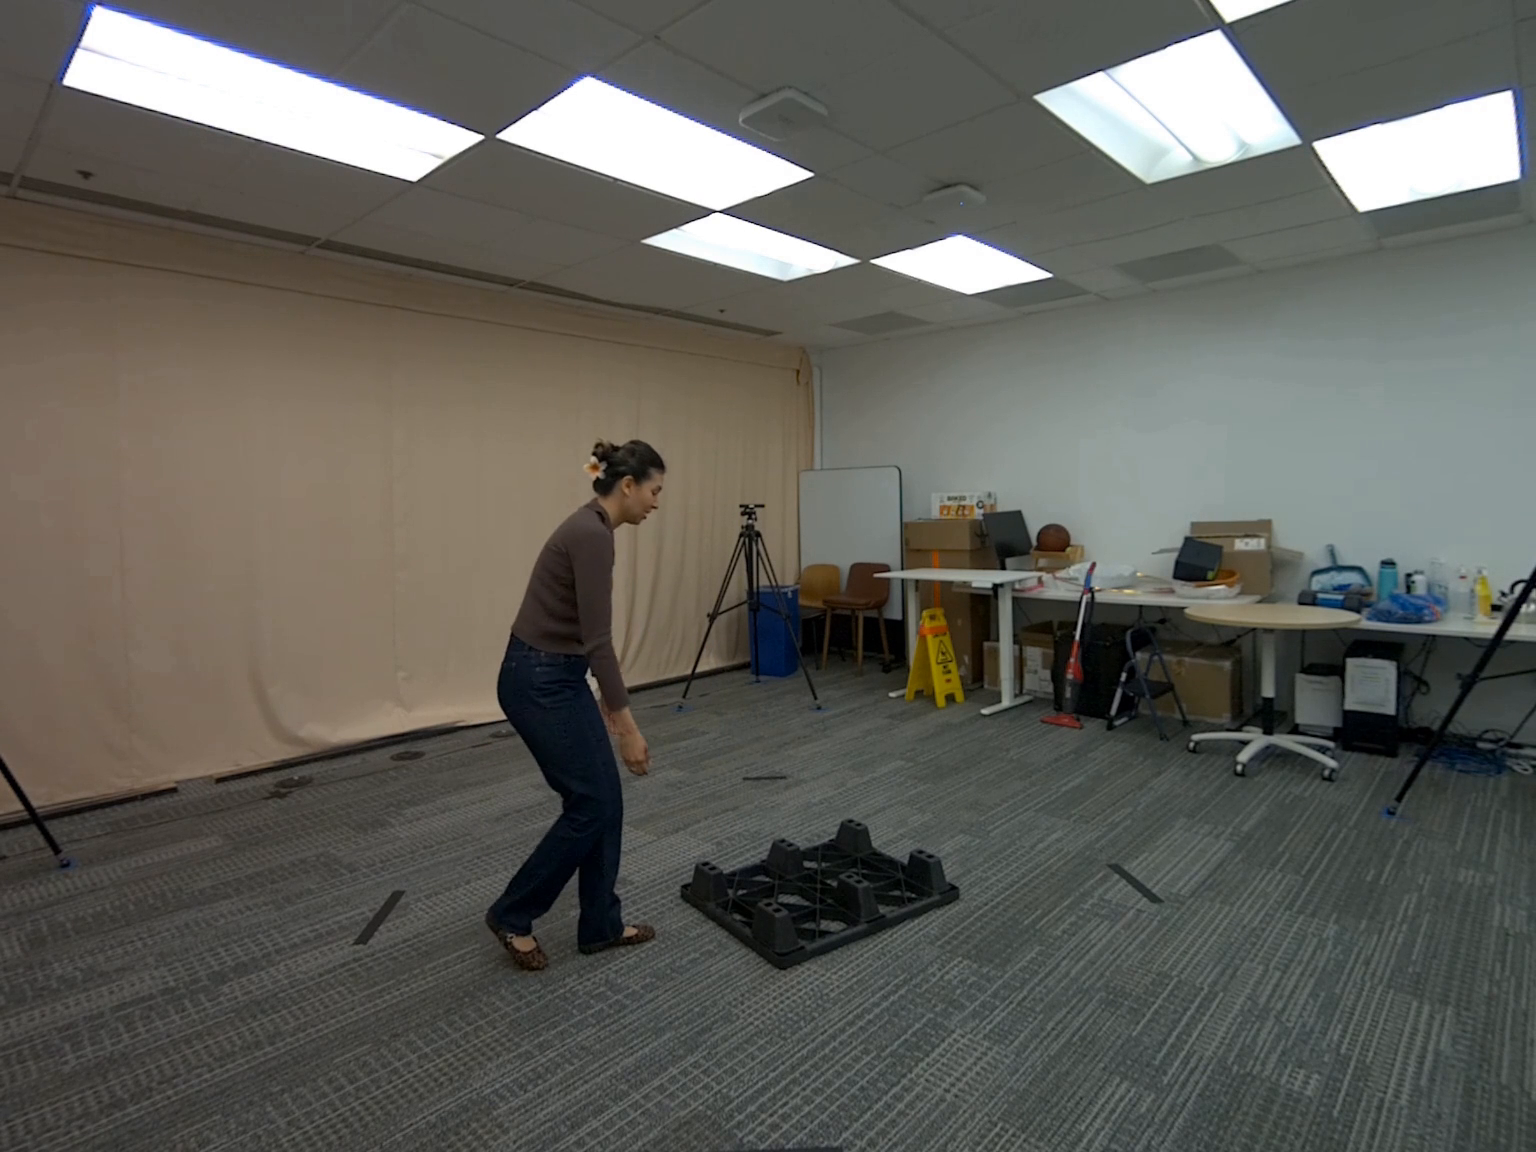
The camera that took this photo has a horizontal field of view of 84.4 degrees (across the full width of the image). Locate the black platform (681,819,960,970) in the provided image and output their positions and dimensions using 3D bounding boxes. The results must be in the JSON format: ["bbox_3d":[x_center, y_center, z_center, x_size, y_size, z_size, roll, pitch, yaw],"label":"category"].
[{"bbox_3d":[0.182,1.069,2.975,0.782,0.143,0.624,-4,6,-35],"label":"black platform"}]
